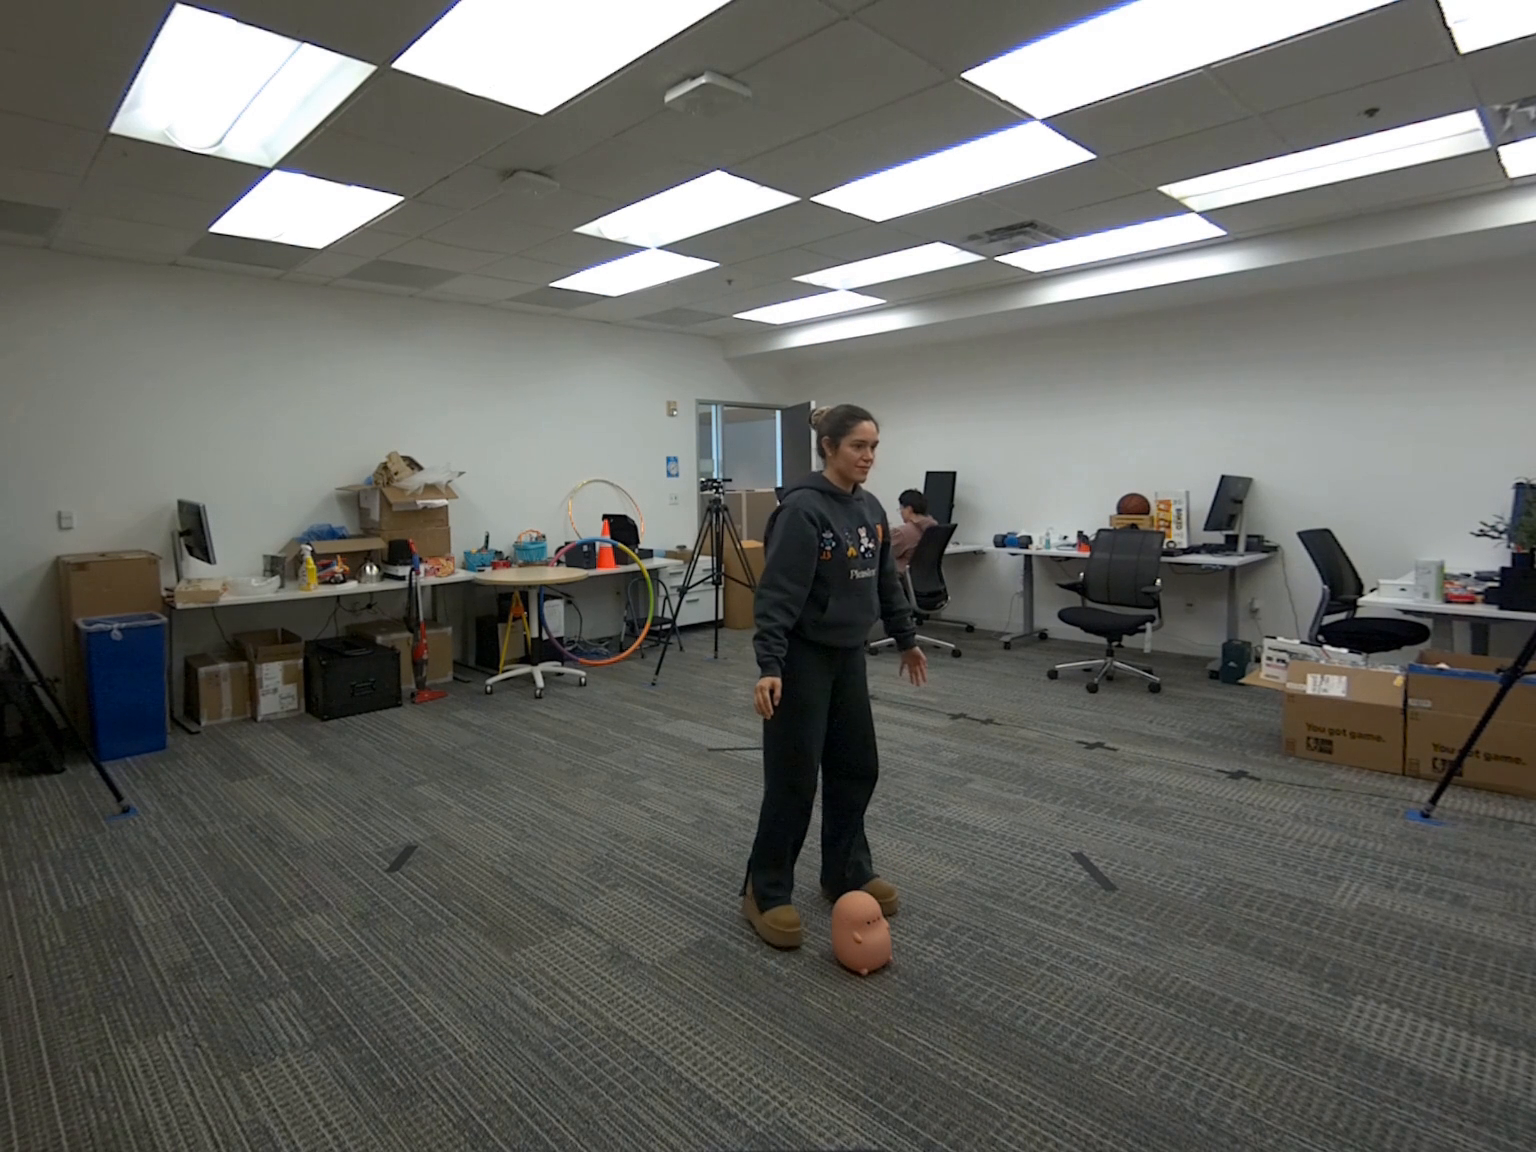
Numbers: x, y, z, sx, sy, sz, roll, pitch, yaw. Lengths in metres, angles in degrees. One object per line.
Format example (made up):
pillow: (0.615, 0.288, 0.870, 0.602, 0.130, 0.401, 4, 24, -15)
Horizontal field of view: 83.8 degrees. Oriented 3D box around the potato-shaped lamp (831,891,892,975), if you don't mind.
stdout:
potato-shaped lamp: (0.271, 1.017, 2.448, 0.161, 0.197, 0.176, -7, 6, -34)
